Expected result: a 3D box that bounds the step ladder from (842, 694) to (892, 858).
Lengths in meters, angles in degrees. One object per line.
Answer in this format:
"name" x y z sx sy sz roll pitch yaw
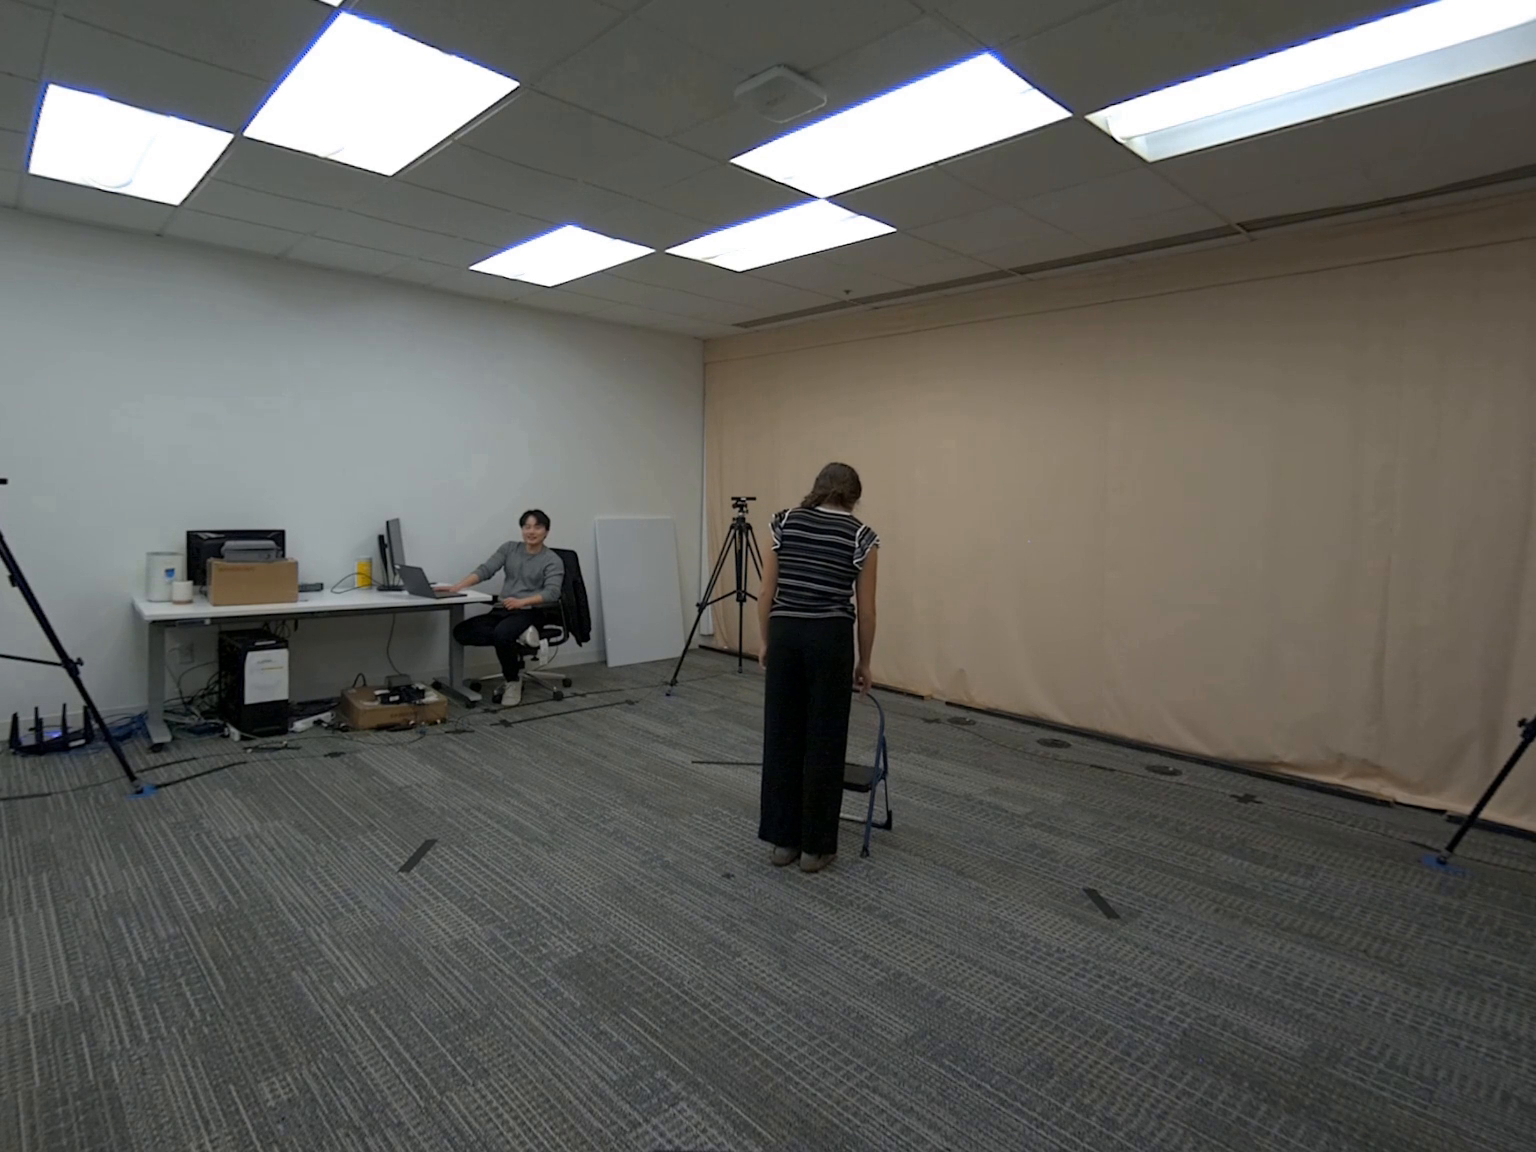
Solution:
"step ladder" 0.279 0.780 3.539 0.440 0.605 0.343 3 3 28
